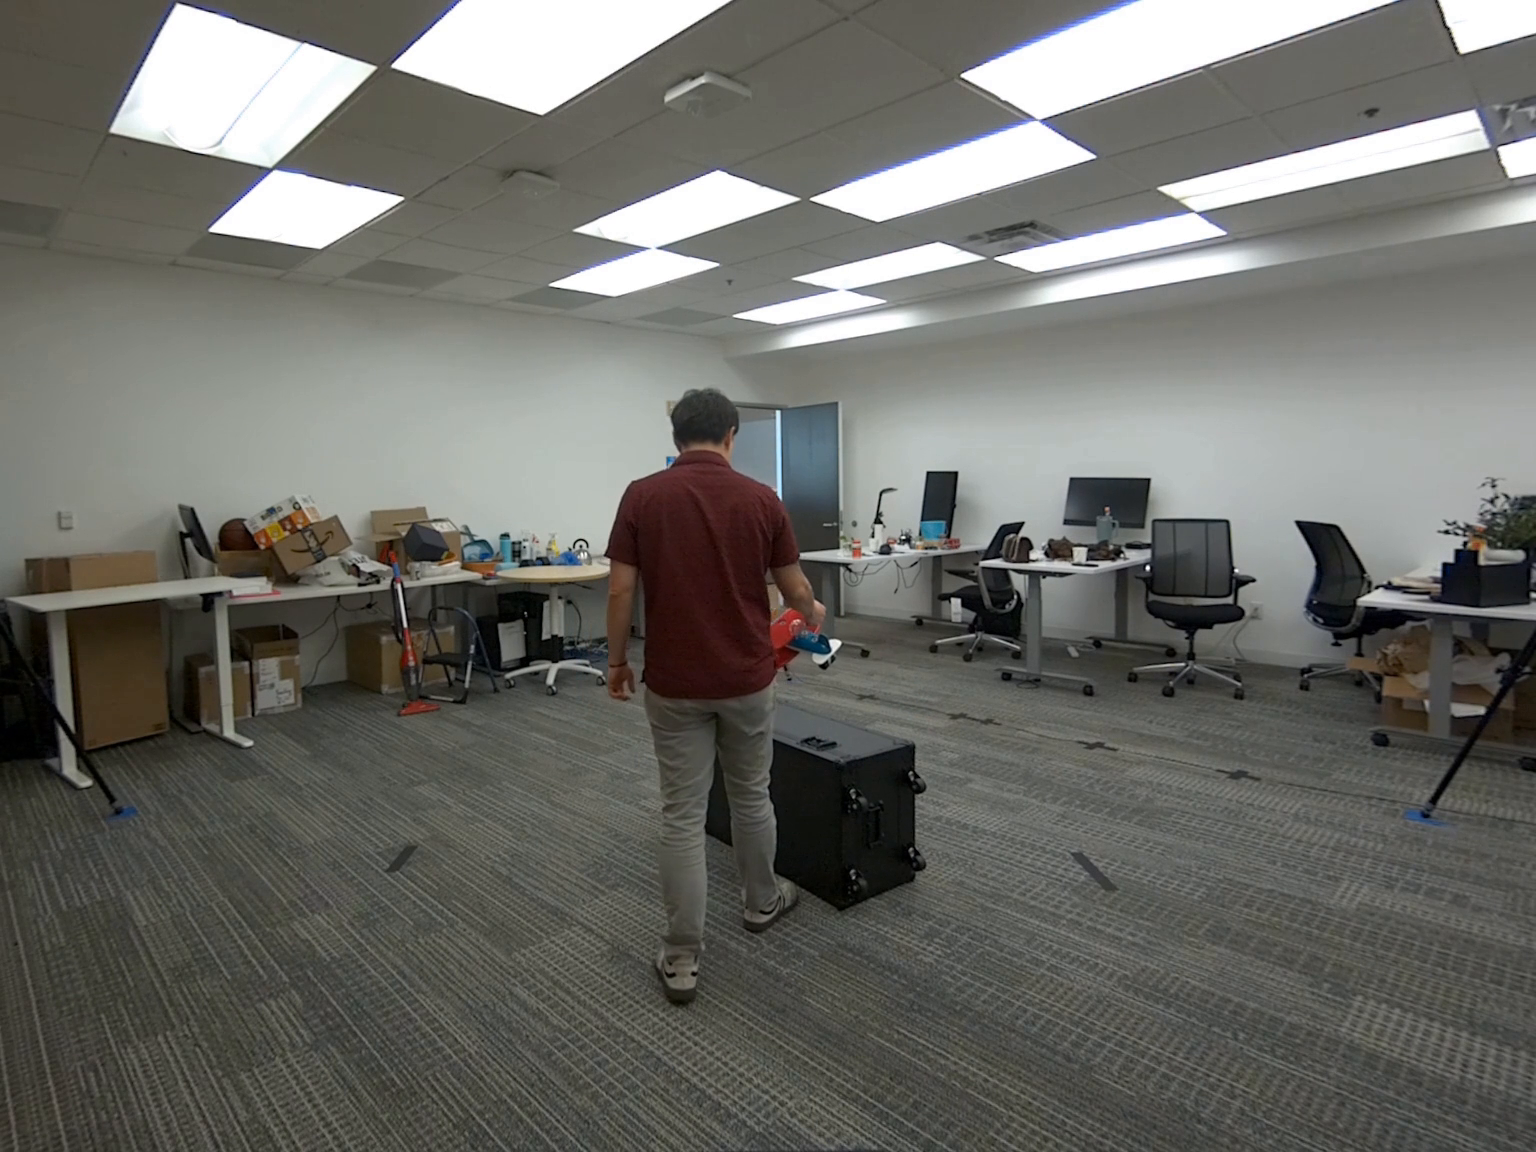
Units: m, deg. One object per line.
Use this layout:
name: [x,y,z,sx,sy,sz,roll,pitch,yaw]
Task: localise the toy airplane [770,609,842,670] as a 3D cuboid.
toy airplane: [0.121,0.202,2.812,0.263,0.152,0.254,-11,27,23]
